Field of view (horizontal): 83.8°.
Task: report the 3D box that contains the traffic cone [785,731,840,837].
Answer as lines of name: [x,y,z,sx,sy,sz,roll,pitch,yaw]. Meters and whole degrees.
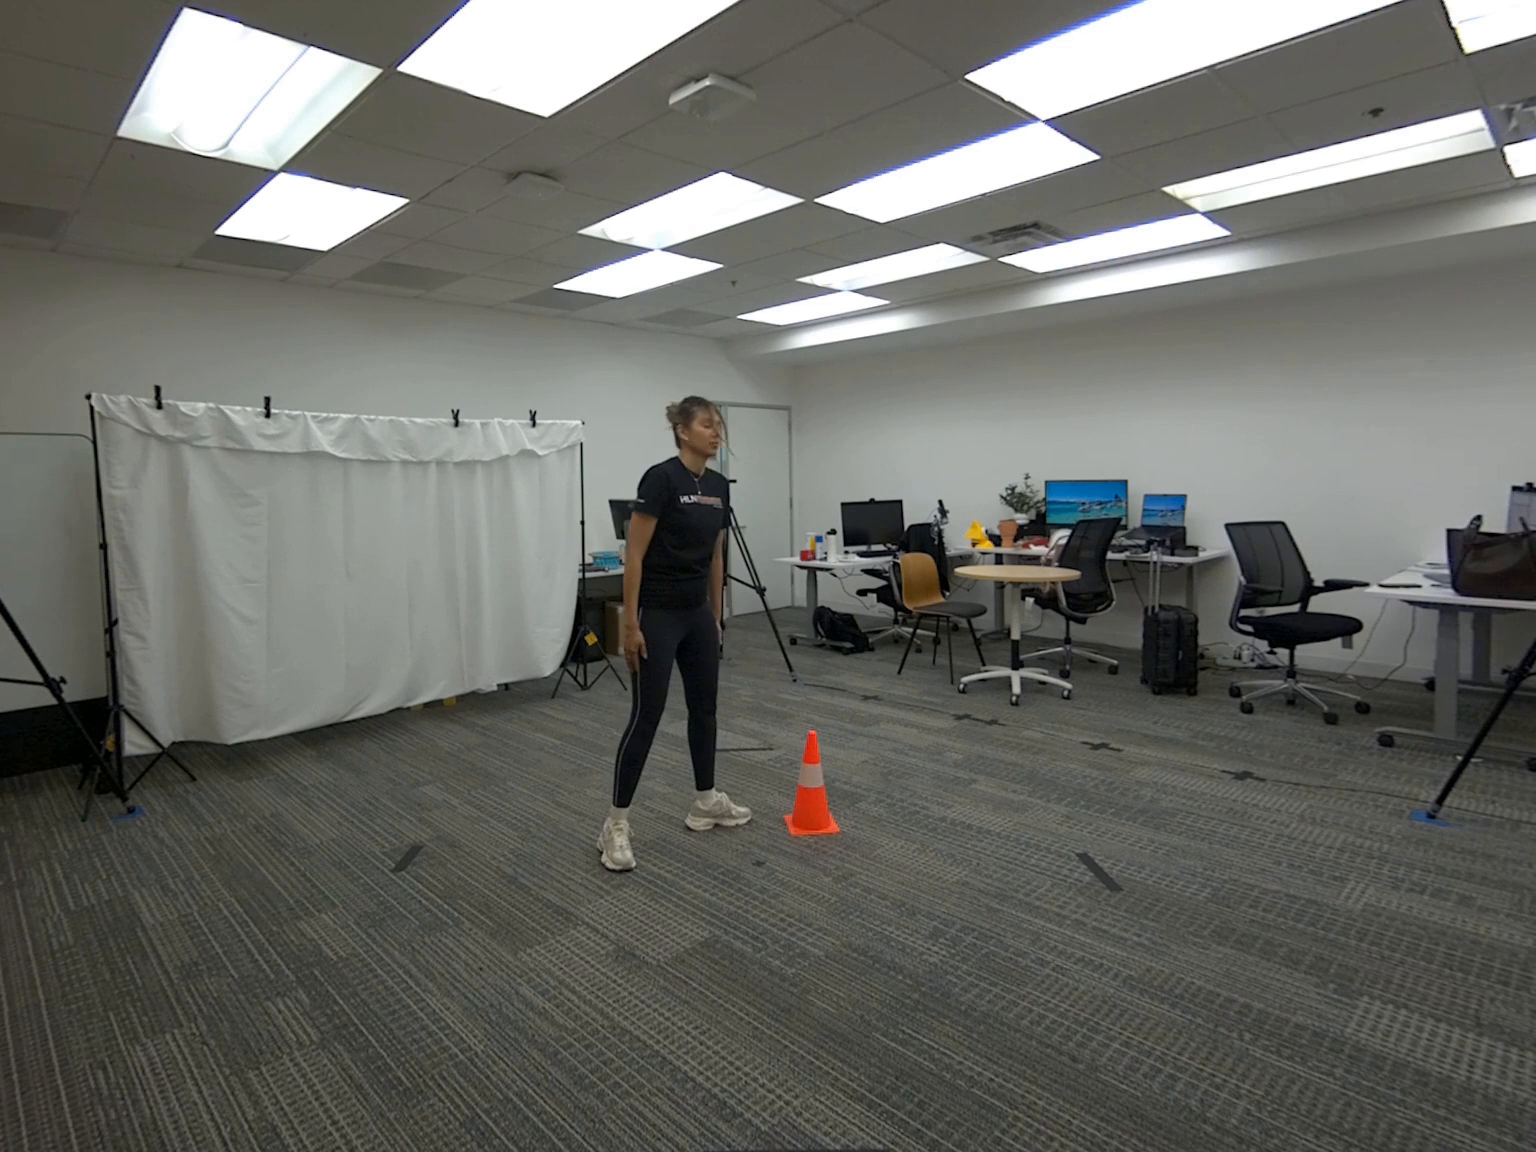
traffic cone: [0.171,0.819,3.443,0.203,0.382,0.206,-2,5,-4]
